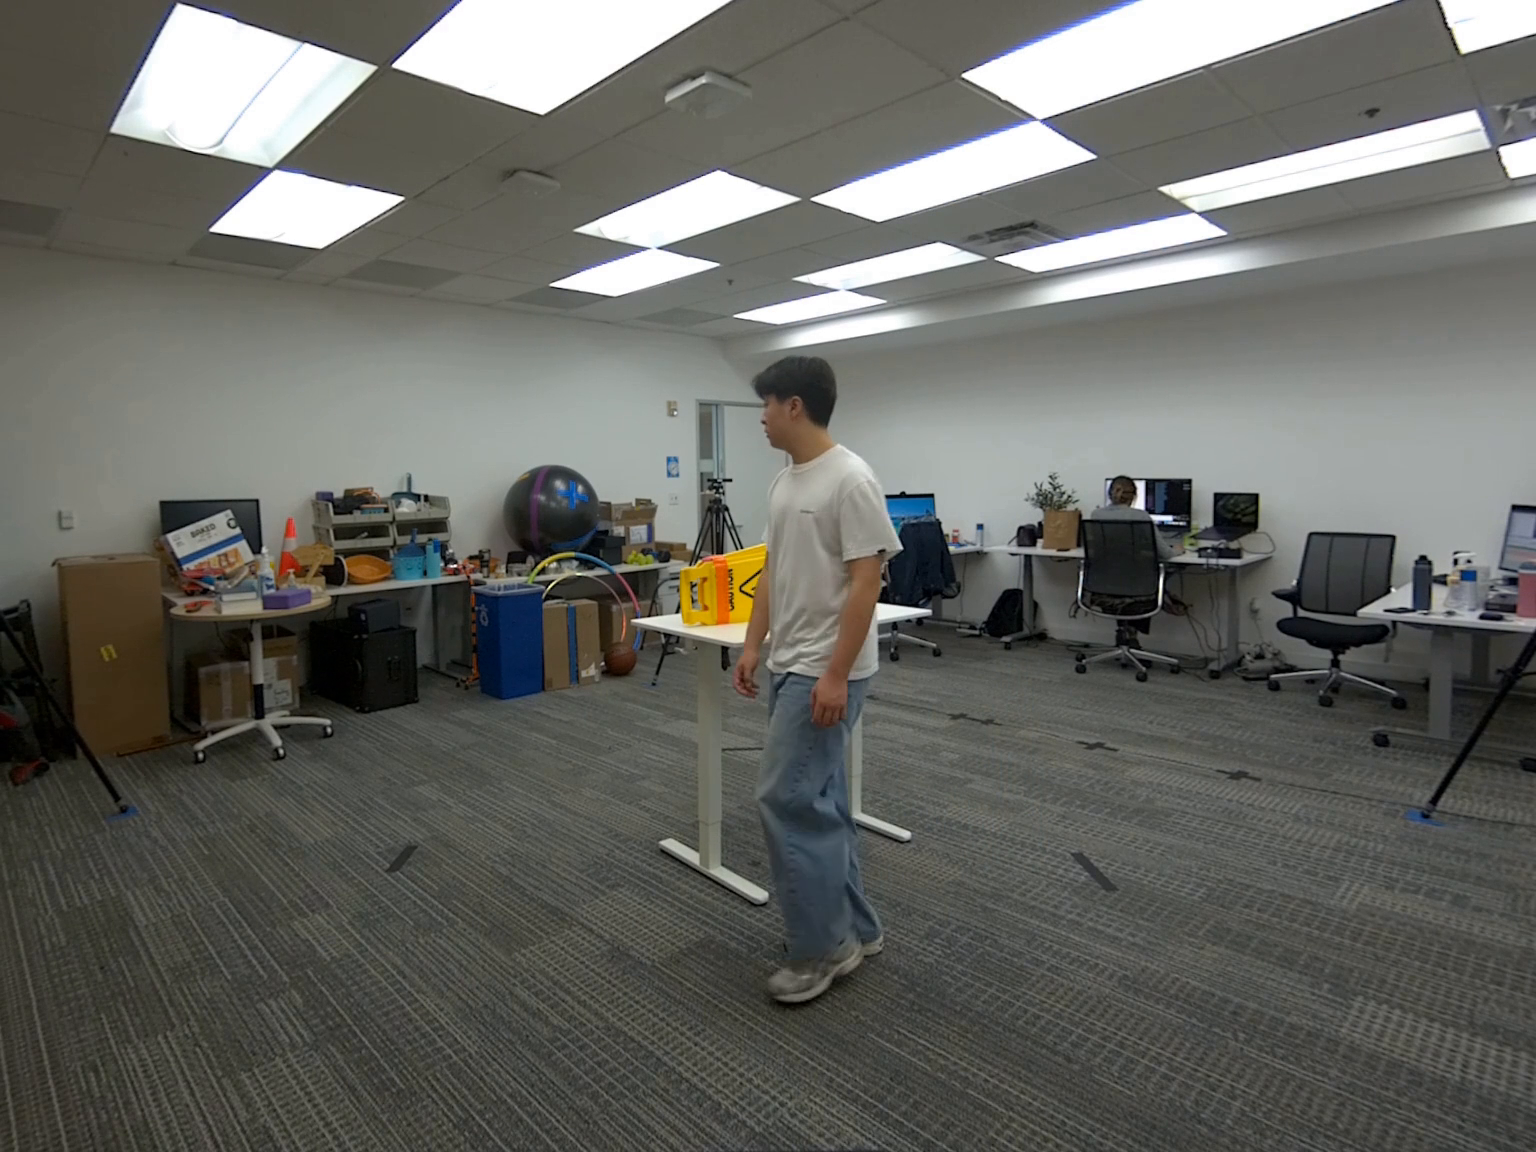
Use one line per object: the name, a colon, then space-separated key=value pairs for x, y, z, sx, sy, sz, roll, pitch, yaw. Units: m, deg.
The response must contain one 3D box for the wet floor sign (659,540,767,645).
wet floor sign: x=-0.044 y=0.033 z=3.139 sx=0.630 sy=0.280 sz=0.299 roll=-9 pitch=10 yaw=-41
